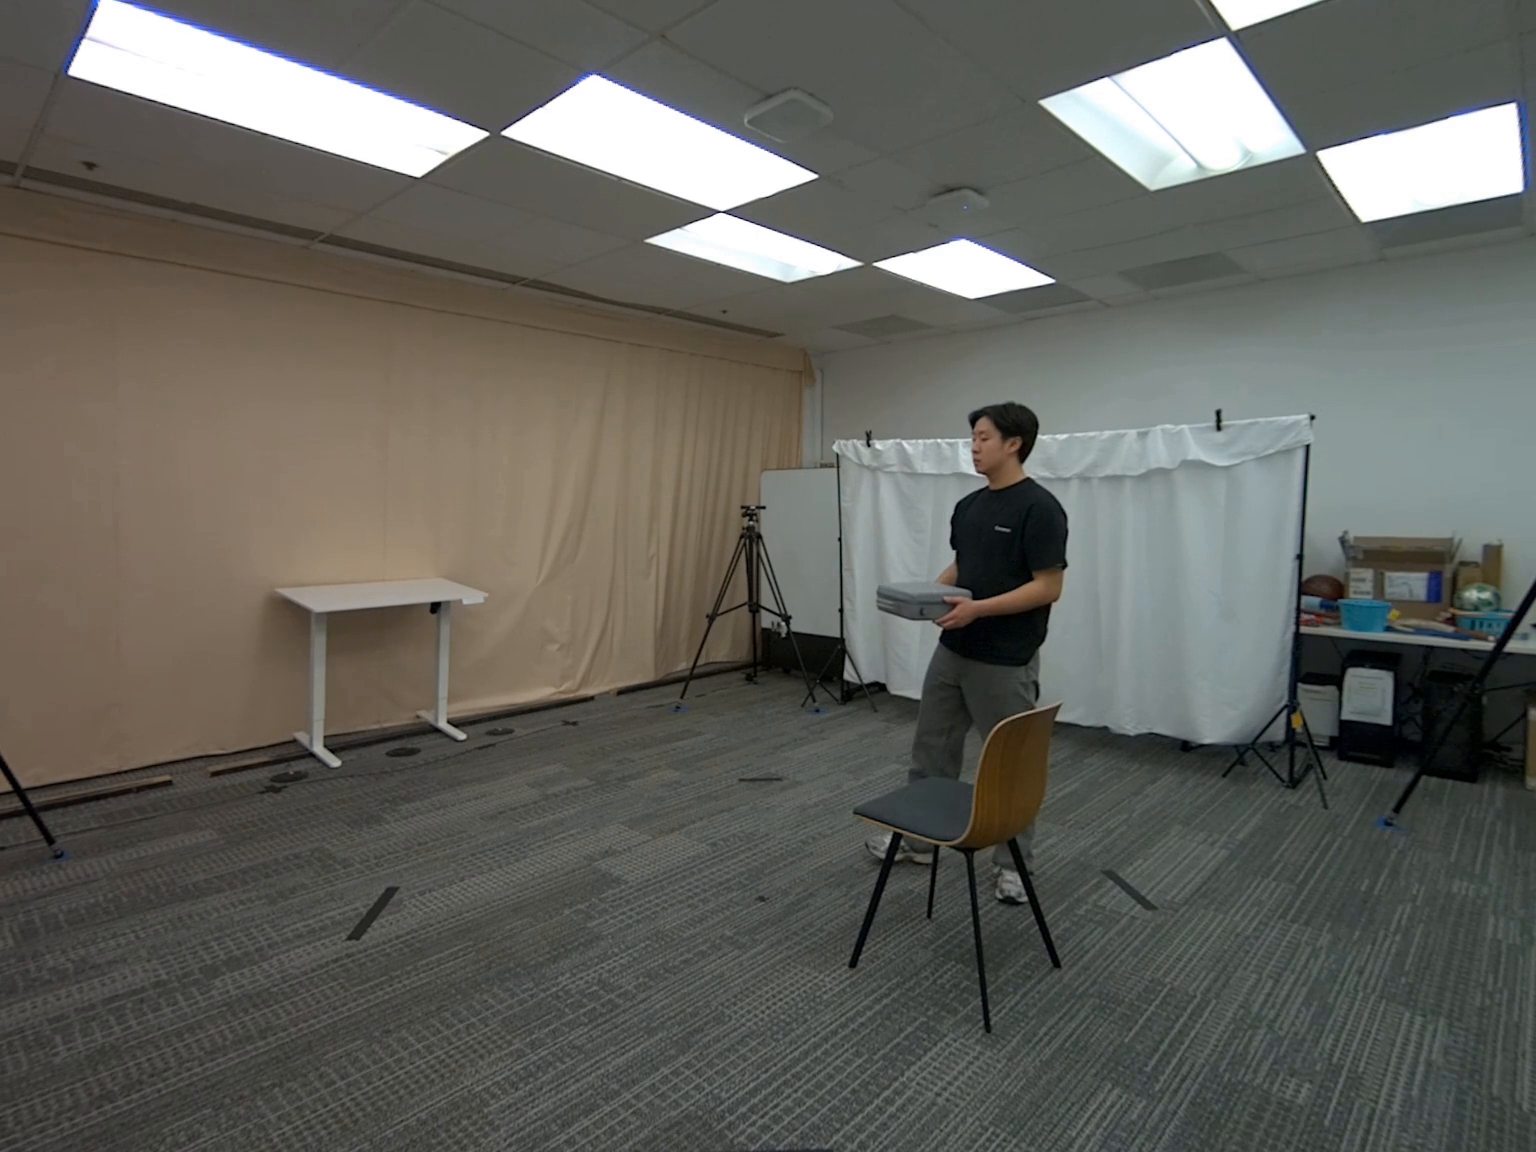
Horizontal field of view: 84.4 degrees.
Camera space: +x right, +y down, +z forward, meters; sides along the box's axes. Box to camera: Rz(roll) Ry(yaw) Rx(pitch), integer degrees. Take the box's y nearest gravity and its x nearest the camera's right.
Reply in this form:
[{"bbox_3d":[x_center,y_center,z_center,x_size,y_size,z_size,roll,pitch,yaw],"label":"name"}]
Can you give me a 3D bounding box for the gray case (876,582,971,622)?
[{"bbox_3d":[0.532,0.093,2.979,0.280,0.102,0.271,-3,9,-27],"label":"gray case"}]
